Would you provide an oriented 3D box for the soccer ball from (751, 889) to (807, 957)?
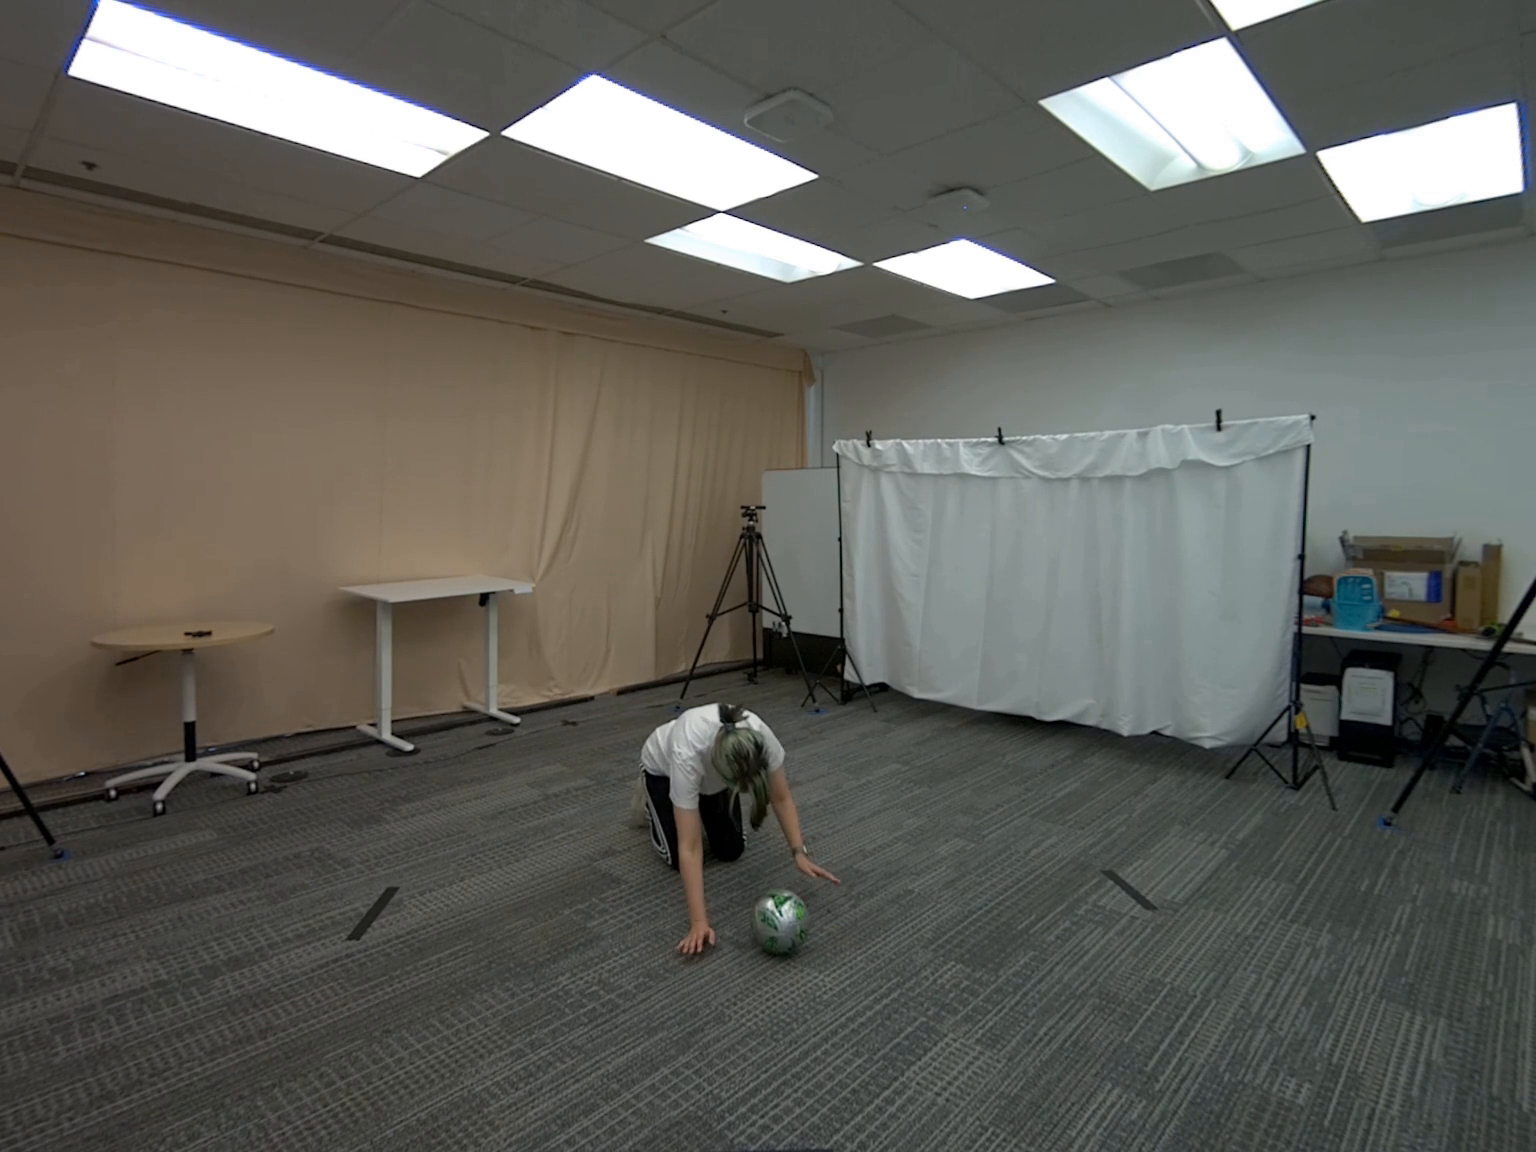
[{"bbox_3d":[0.038,1.080,2.630,0.187,0.187,0.188,0,4,-2],"label":"soccer ball"}]
